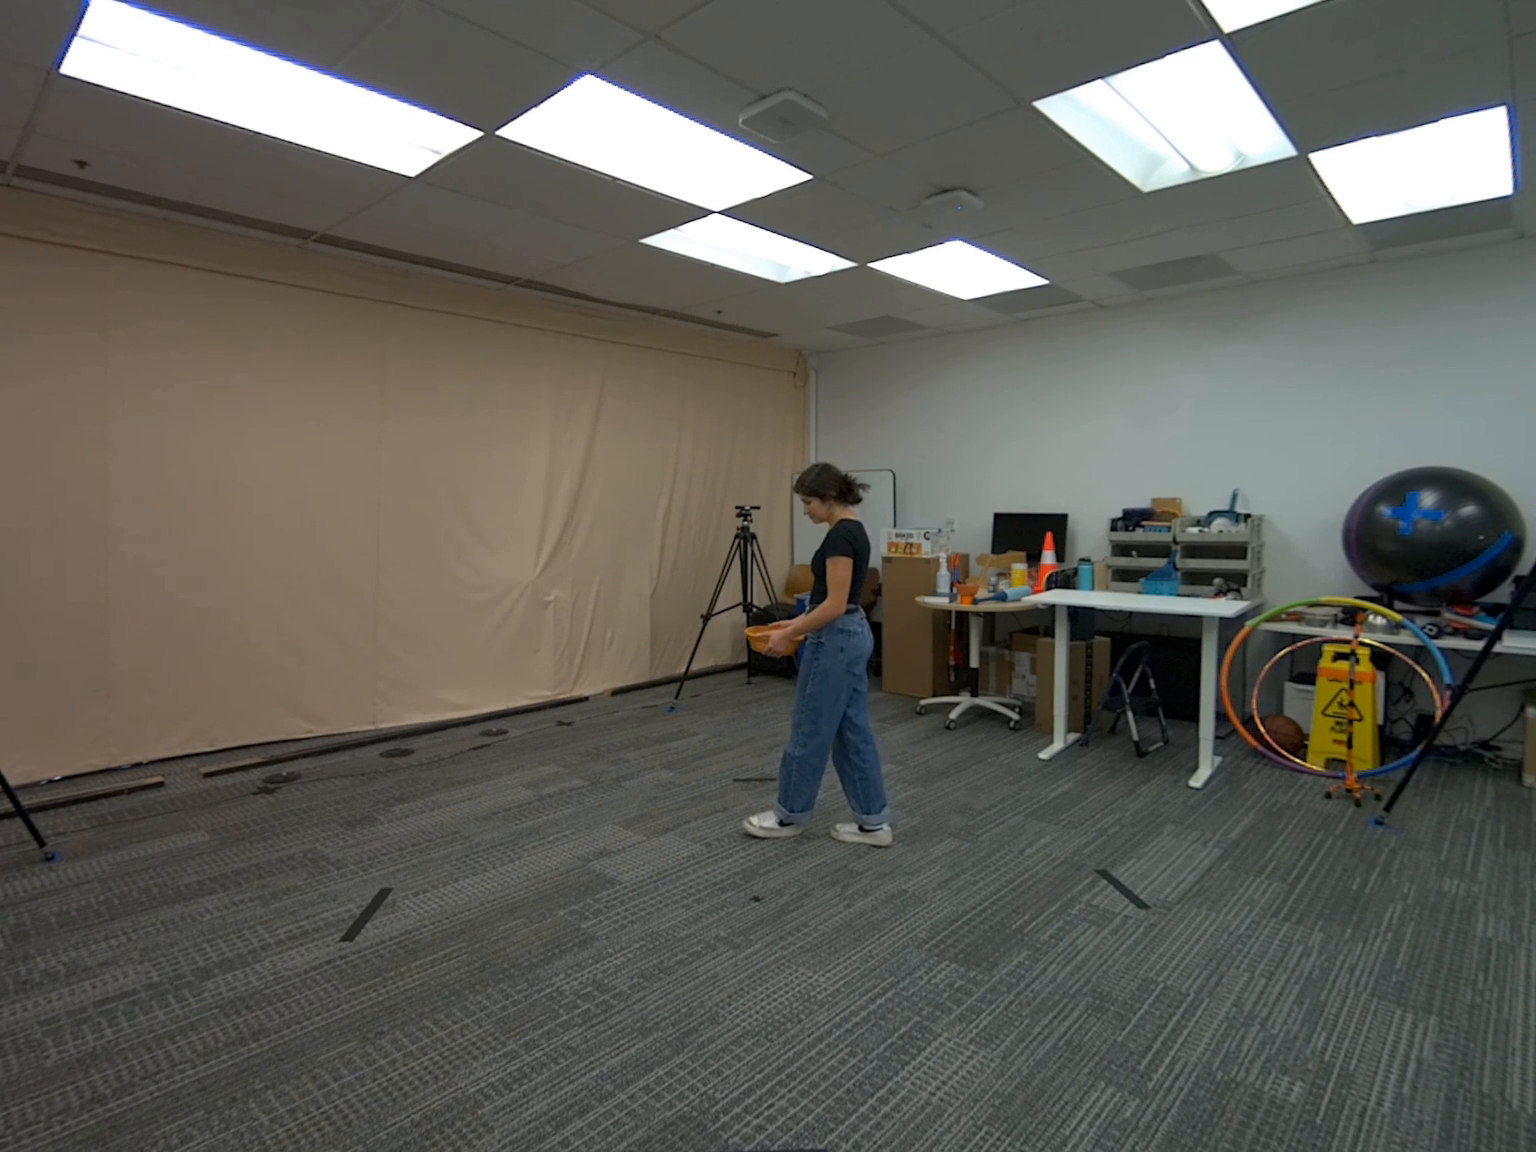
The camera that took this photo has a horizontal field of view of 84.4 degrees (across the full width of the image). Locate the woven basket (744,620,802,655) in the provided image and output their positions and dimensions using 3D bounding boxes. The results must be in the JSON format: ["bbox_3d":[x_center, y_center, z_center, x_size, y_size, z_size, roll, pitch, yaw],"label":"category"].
[{"bbox_3d":[0.048,0.270,3.568,0.257,0.073,0.345,5,4,14],"label":"woven basket"}]
